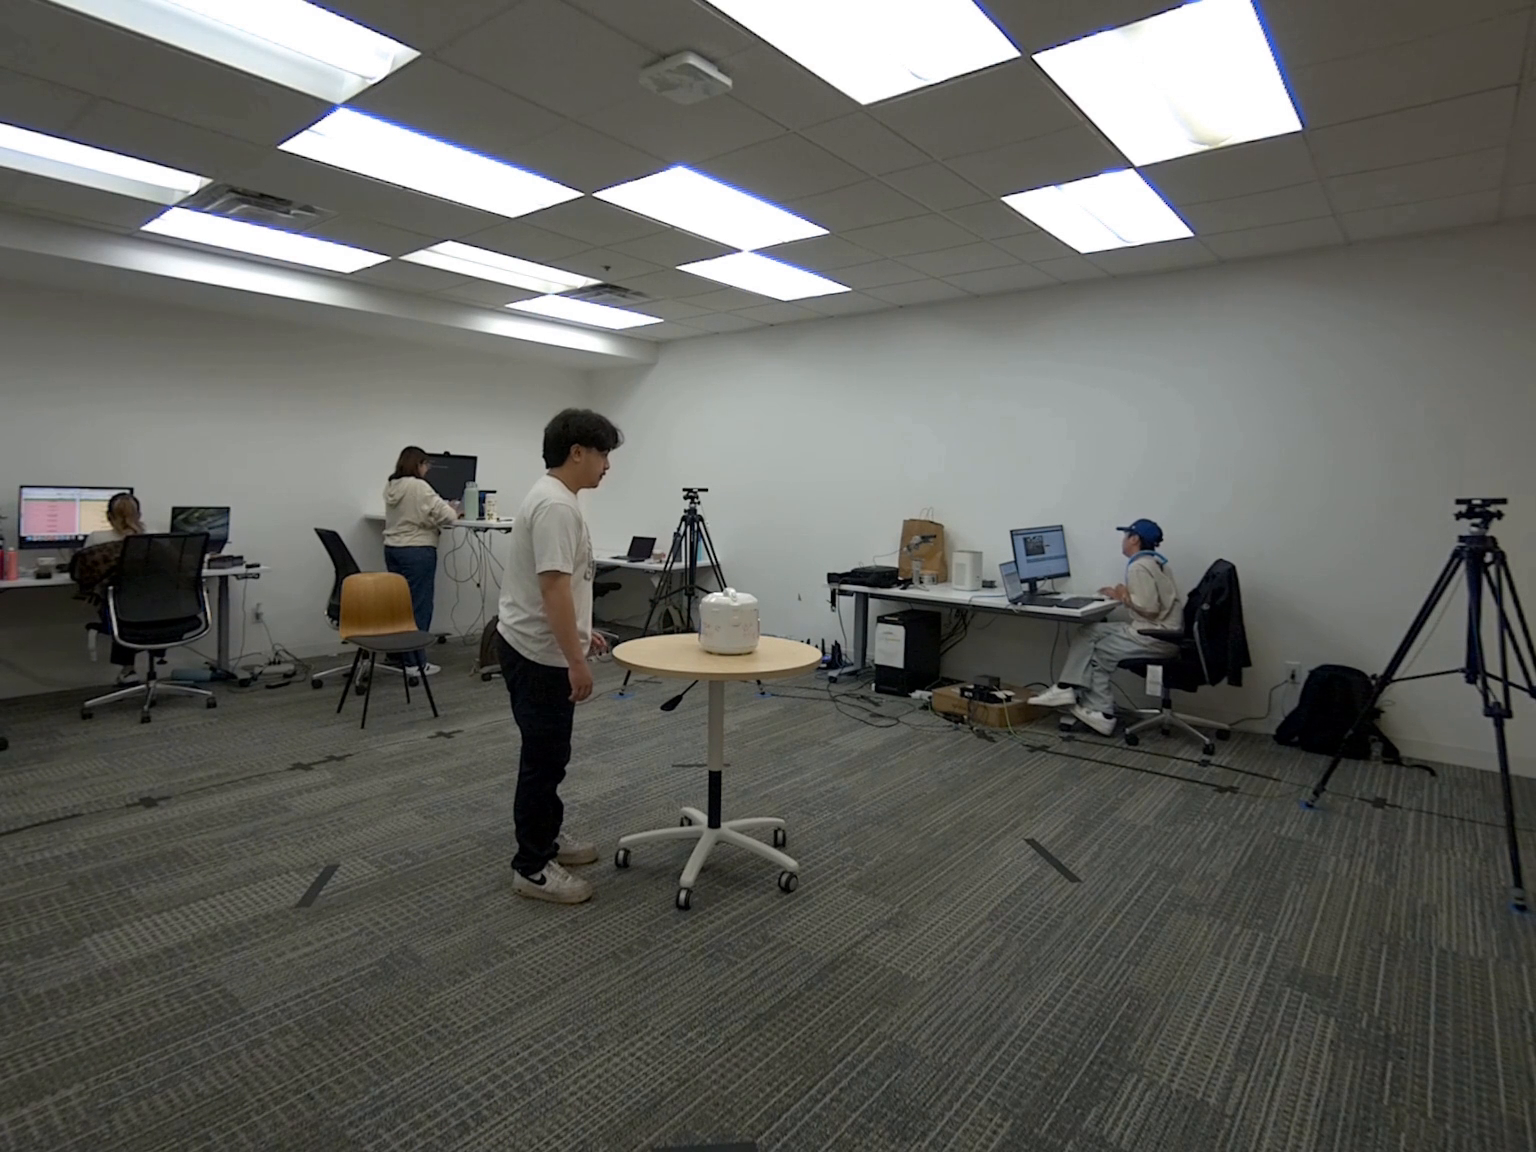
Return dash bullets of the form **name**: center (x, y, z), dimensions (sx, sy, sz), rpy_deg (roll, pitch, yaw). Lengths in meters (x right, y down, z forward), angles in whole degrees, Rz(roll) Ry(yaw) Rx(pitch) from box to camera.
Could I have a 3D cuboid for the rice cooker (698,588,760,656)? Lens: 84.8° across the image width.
- **rice cooker**: center (-0.150, 0.157, 3.111), dimensions (0.215, 0.232, 0.224), rpy_deg (1, 5, -11)
